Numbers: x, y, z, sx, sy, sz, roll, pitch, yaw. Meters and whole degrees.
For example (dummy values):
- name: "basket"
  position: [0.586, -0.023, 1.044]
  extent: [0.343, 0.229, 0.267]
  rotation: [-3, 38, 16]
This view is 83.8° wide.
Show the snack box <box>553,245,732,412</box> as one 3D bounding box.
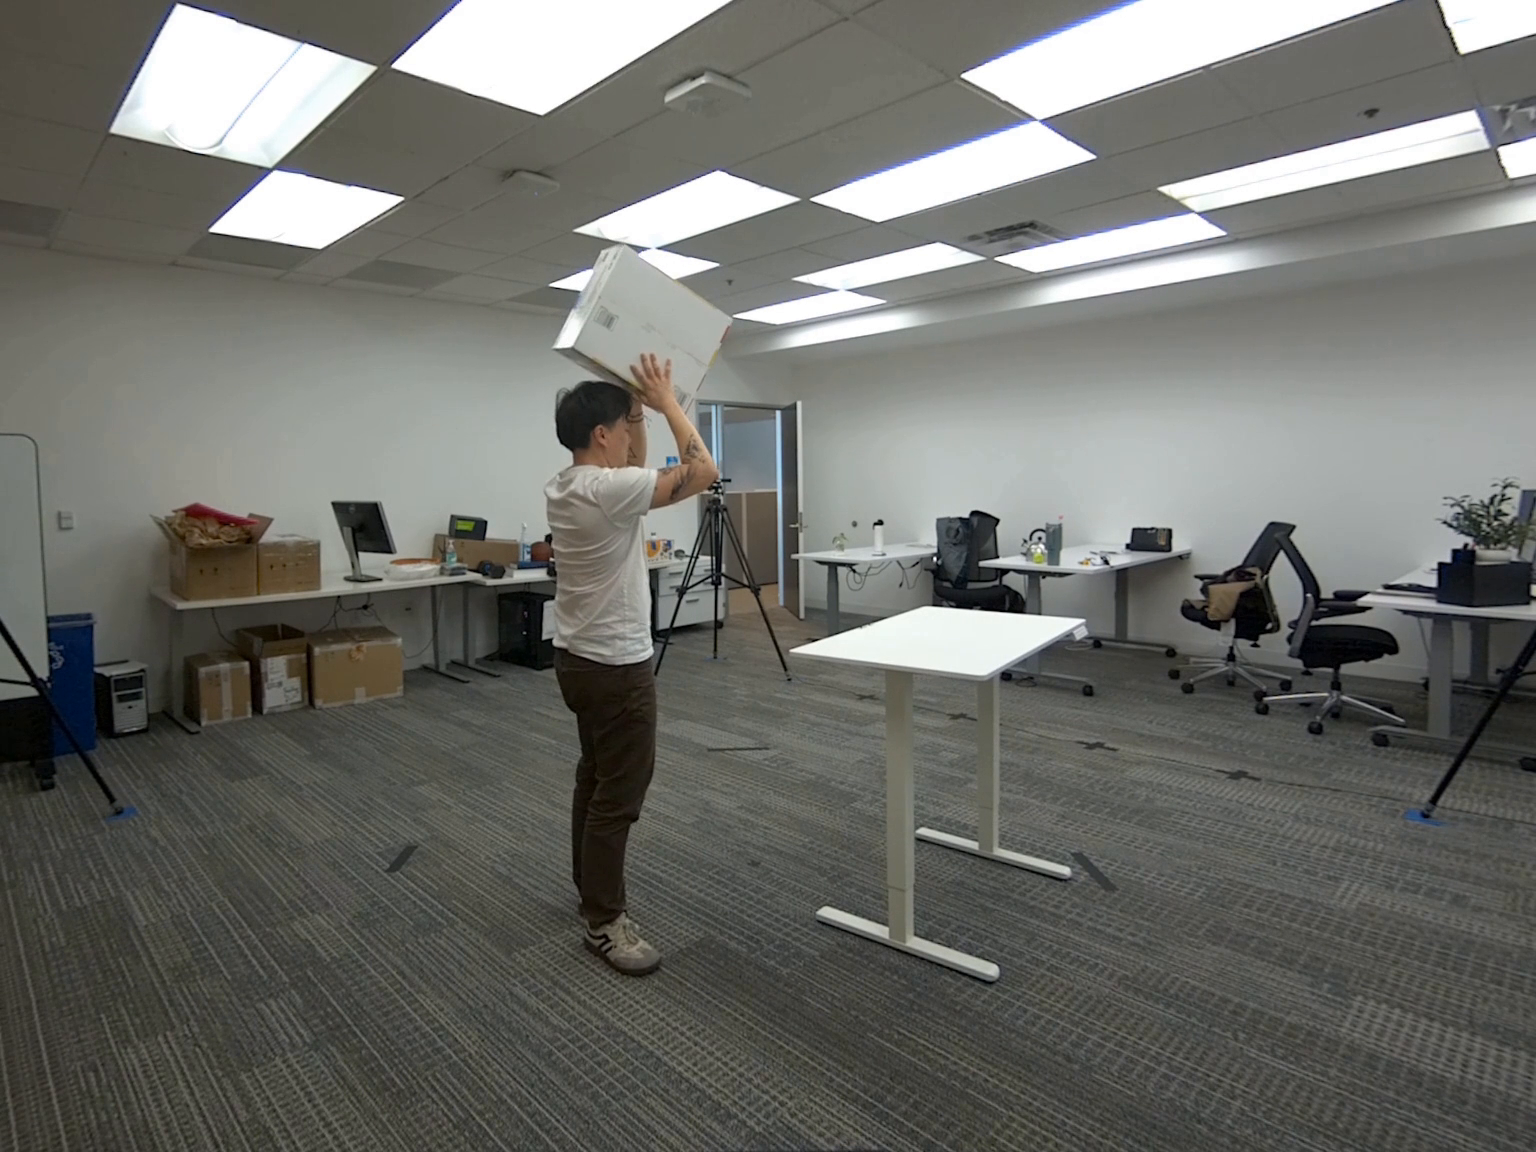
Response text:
- name: "snack box"
  position: [-0.381, -0.736, 2.597]
  extent: [0.392, 0.341, 0.212]
  rotation: [27, -4, -30]
